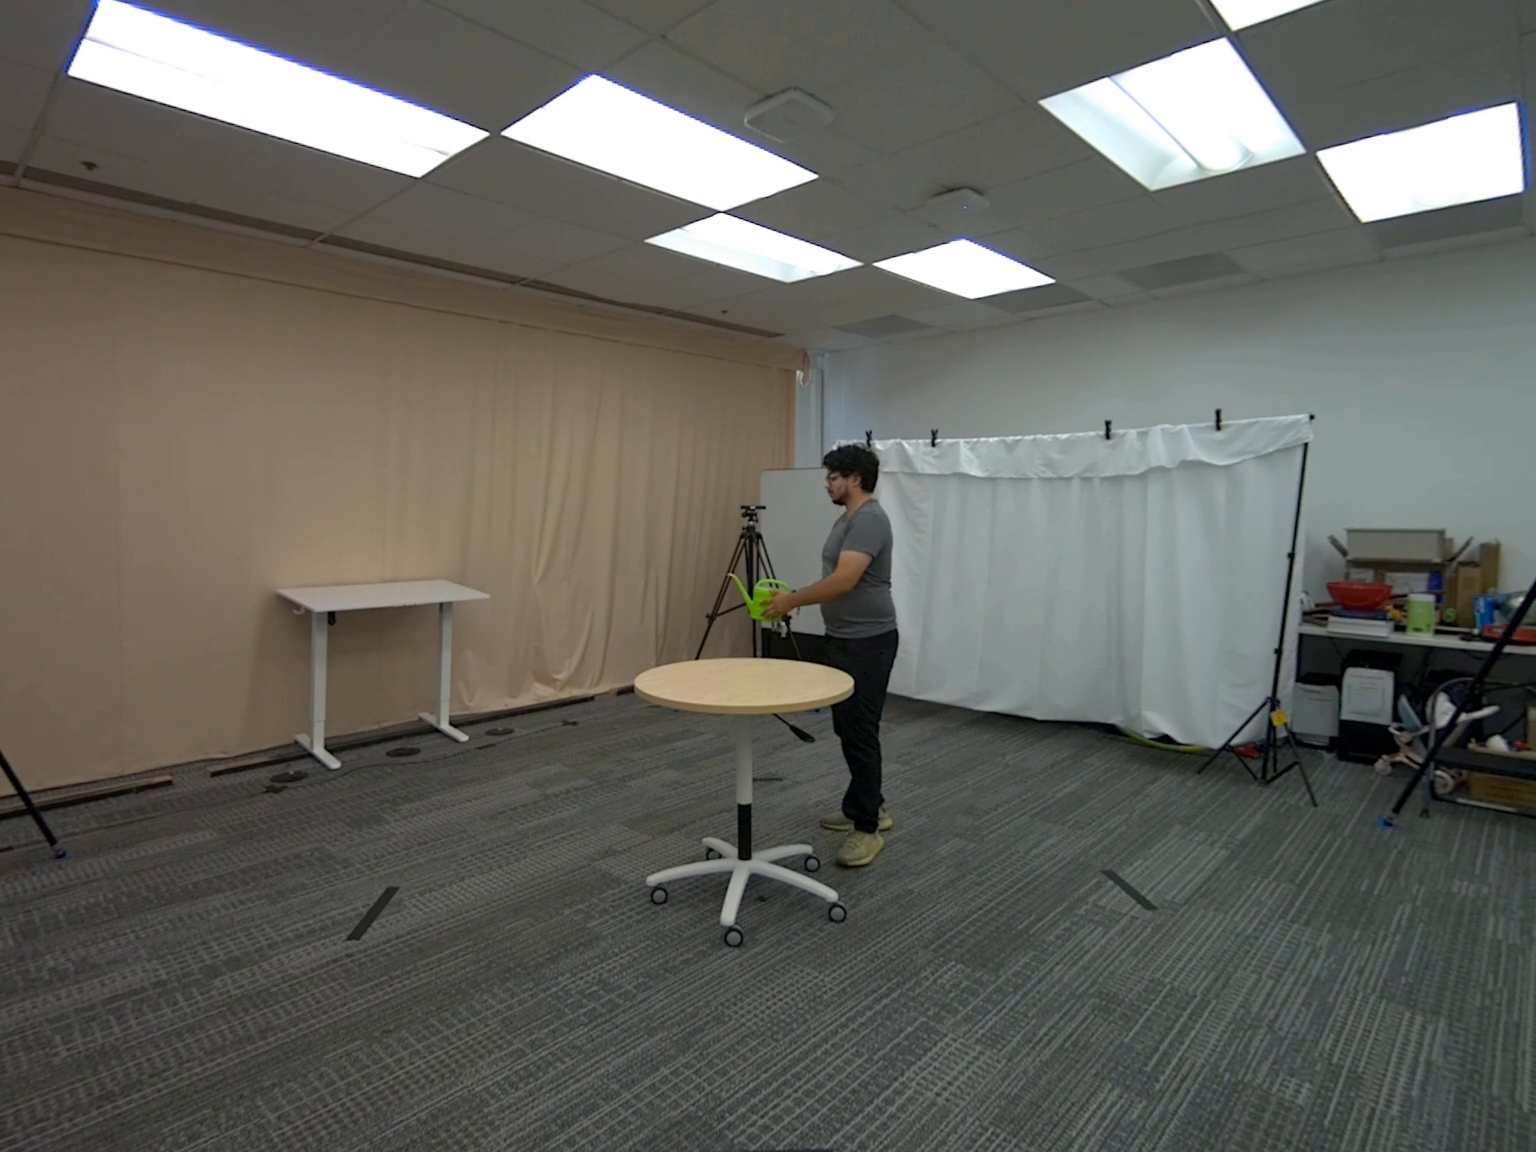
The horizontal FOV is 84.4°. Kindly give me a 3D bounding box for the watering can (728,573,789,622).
[{"bbox_3d":[-0.035,0.096,3.626,0.284,0.176,0.096,8,3,18],"label":"watering can"}]
